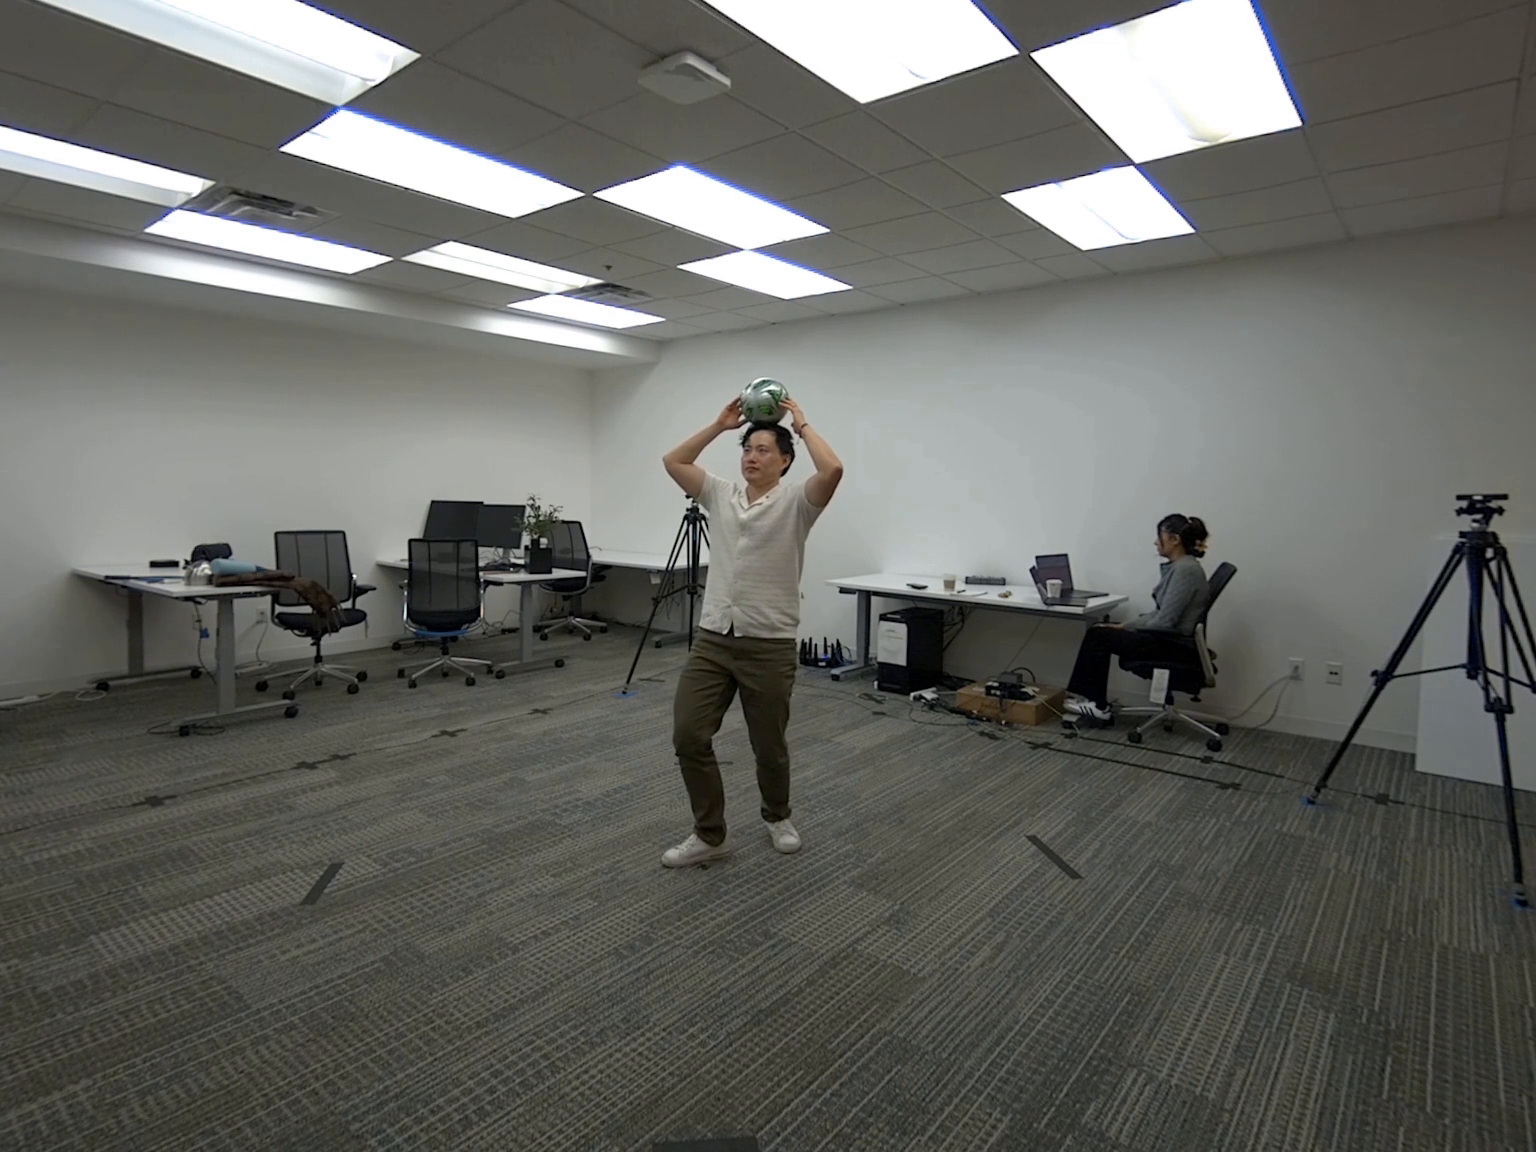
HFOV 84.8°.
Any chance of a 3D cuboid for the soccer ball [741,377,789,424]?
[{"bbox_3d":[-0.030,-0.667,3.264,0.187,0.187,0.188,1,4,-2],"label":"soccer ball"}]
